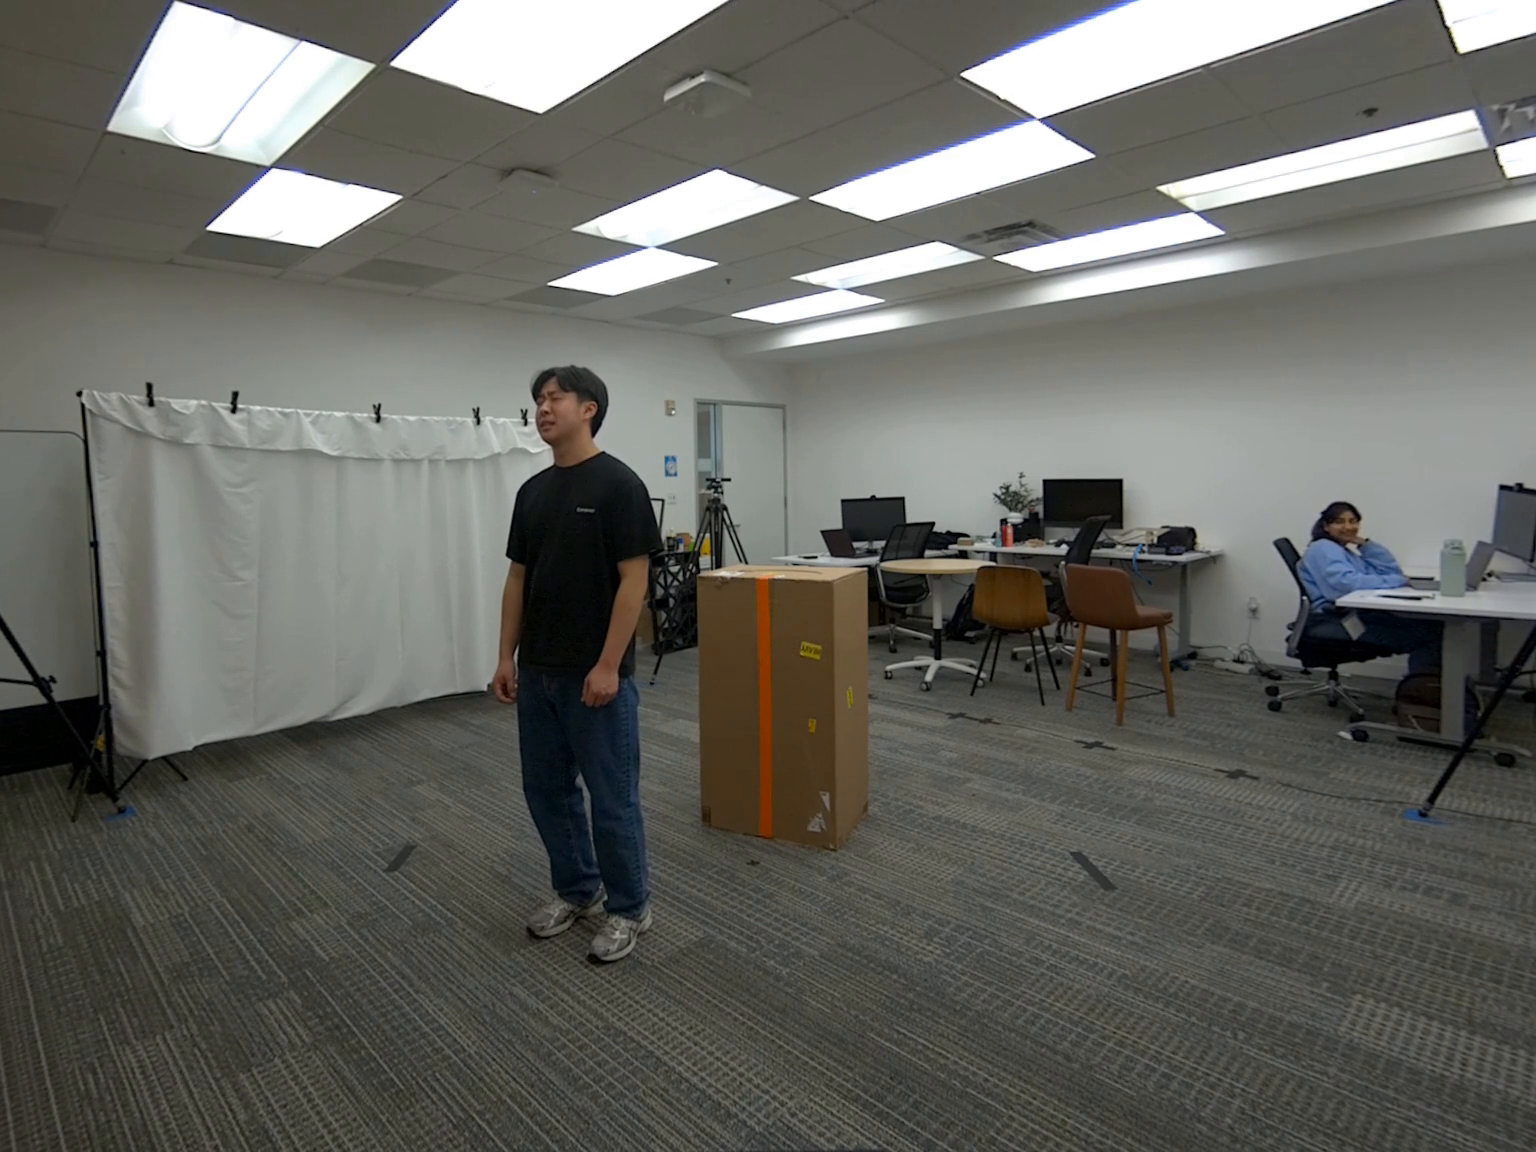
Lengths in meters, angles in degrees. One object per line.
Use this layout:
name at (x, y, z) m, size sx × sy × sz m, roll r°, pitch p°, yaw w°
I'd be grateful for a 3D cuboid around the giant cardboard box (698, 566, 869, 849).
giant cardboard box at (0.071, 0.486, 3.472) m, size 0.598 × 1.022 × 0.438 m, roll 2°, pitch 6°, yaw 27°
